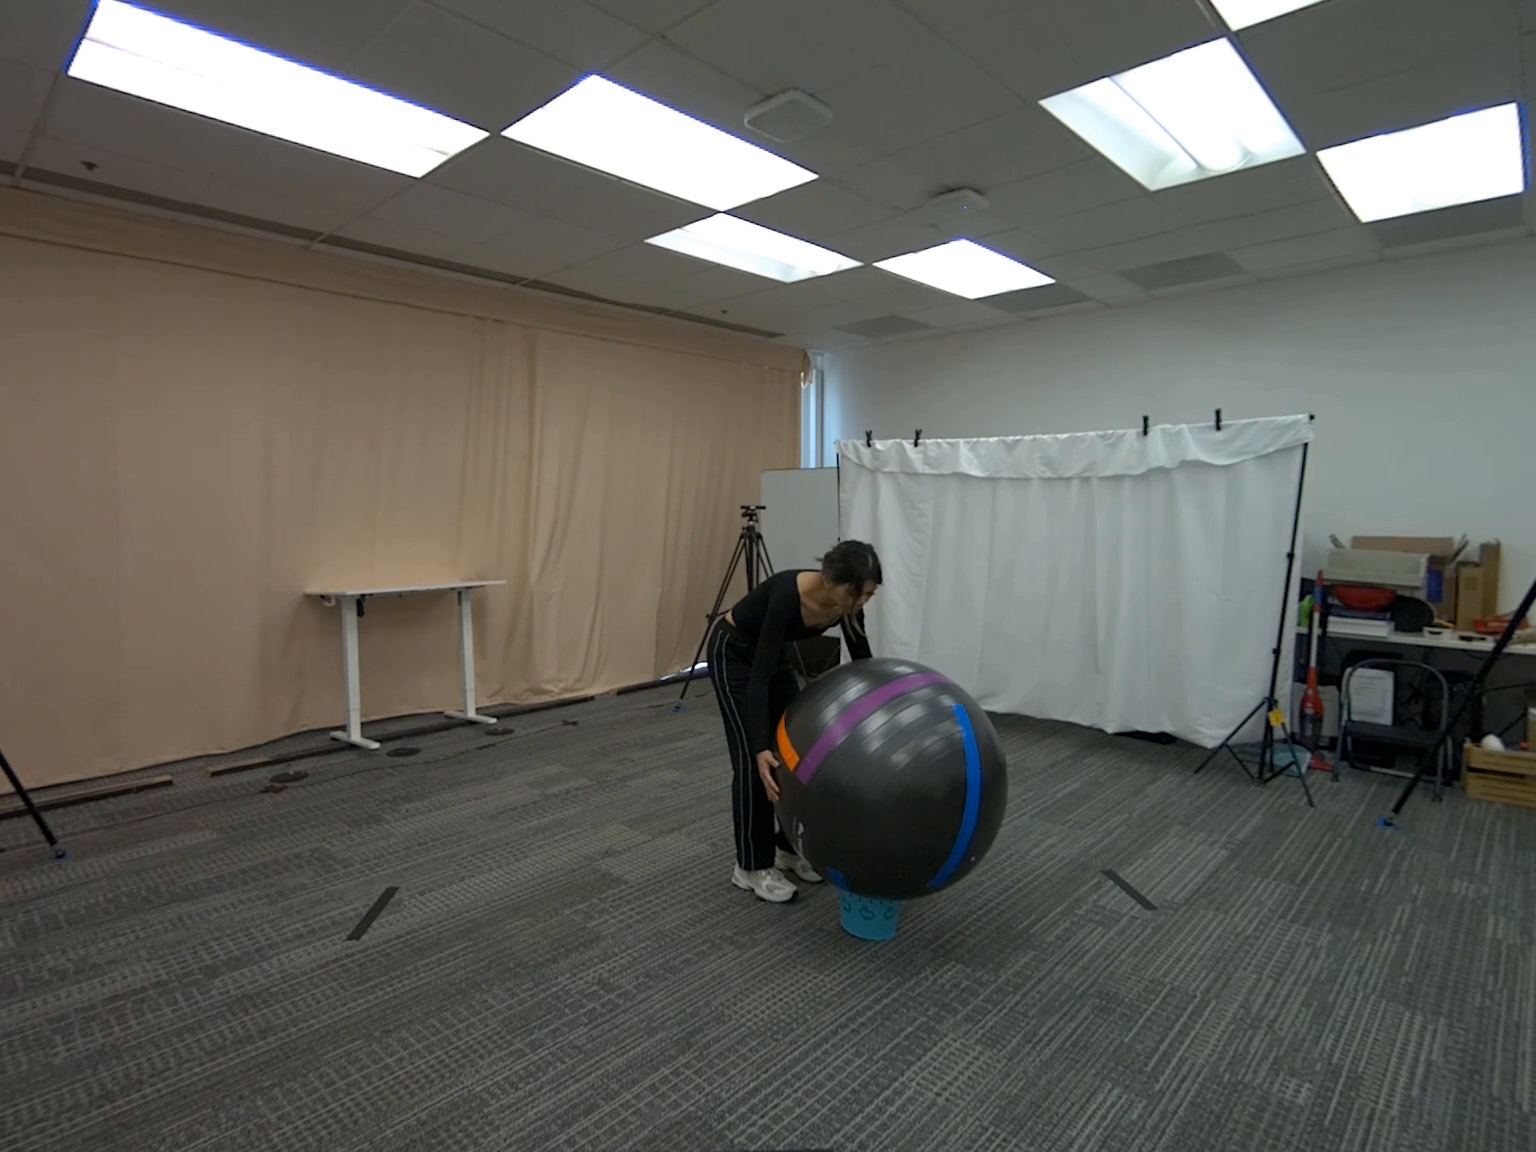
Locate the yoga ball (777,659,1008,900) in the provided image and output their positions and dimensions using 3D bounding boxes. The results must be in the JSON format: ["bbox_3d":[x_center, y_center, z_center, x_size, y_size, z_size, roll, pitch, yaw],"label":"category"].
[{"bbox_3d":[0.391,0.656,2.735,0.757,0.756,0.760,0,4,-2],"label":"yoga ball"}]
